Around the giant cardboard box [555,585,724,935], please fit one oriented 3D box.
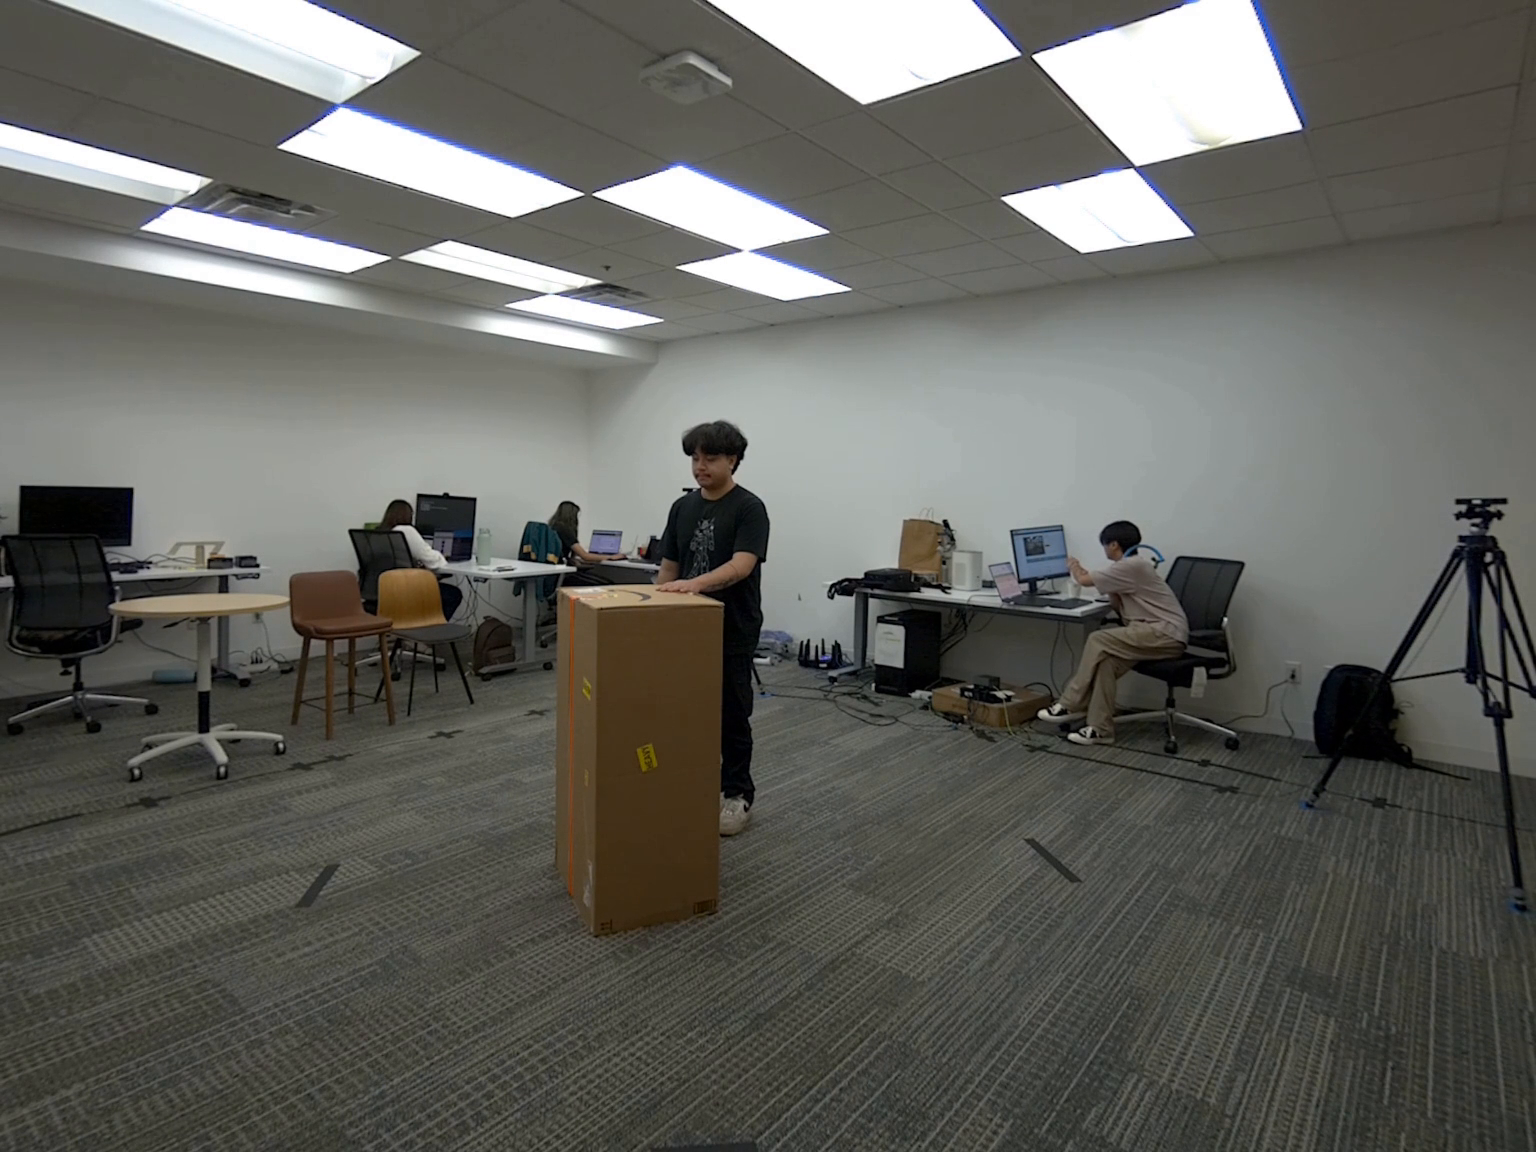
[{"bbox_3d":[-0.478,0.569,2.939,0.436,1.024,0.599,-1,4,-25],"label":"giant cardboard box"}]
